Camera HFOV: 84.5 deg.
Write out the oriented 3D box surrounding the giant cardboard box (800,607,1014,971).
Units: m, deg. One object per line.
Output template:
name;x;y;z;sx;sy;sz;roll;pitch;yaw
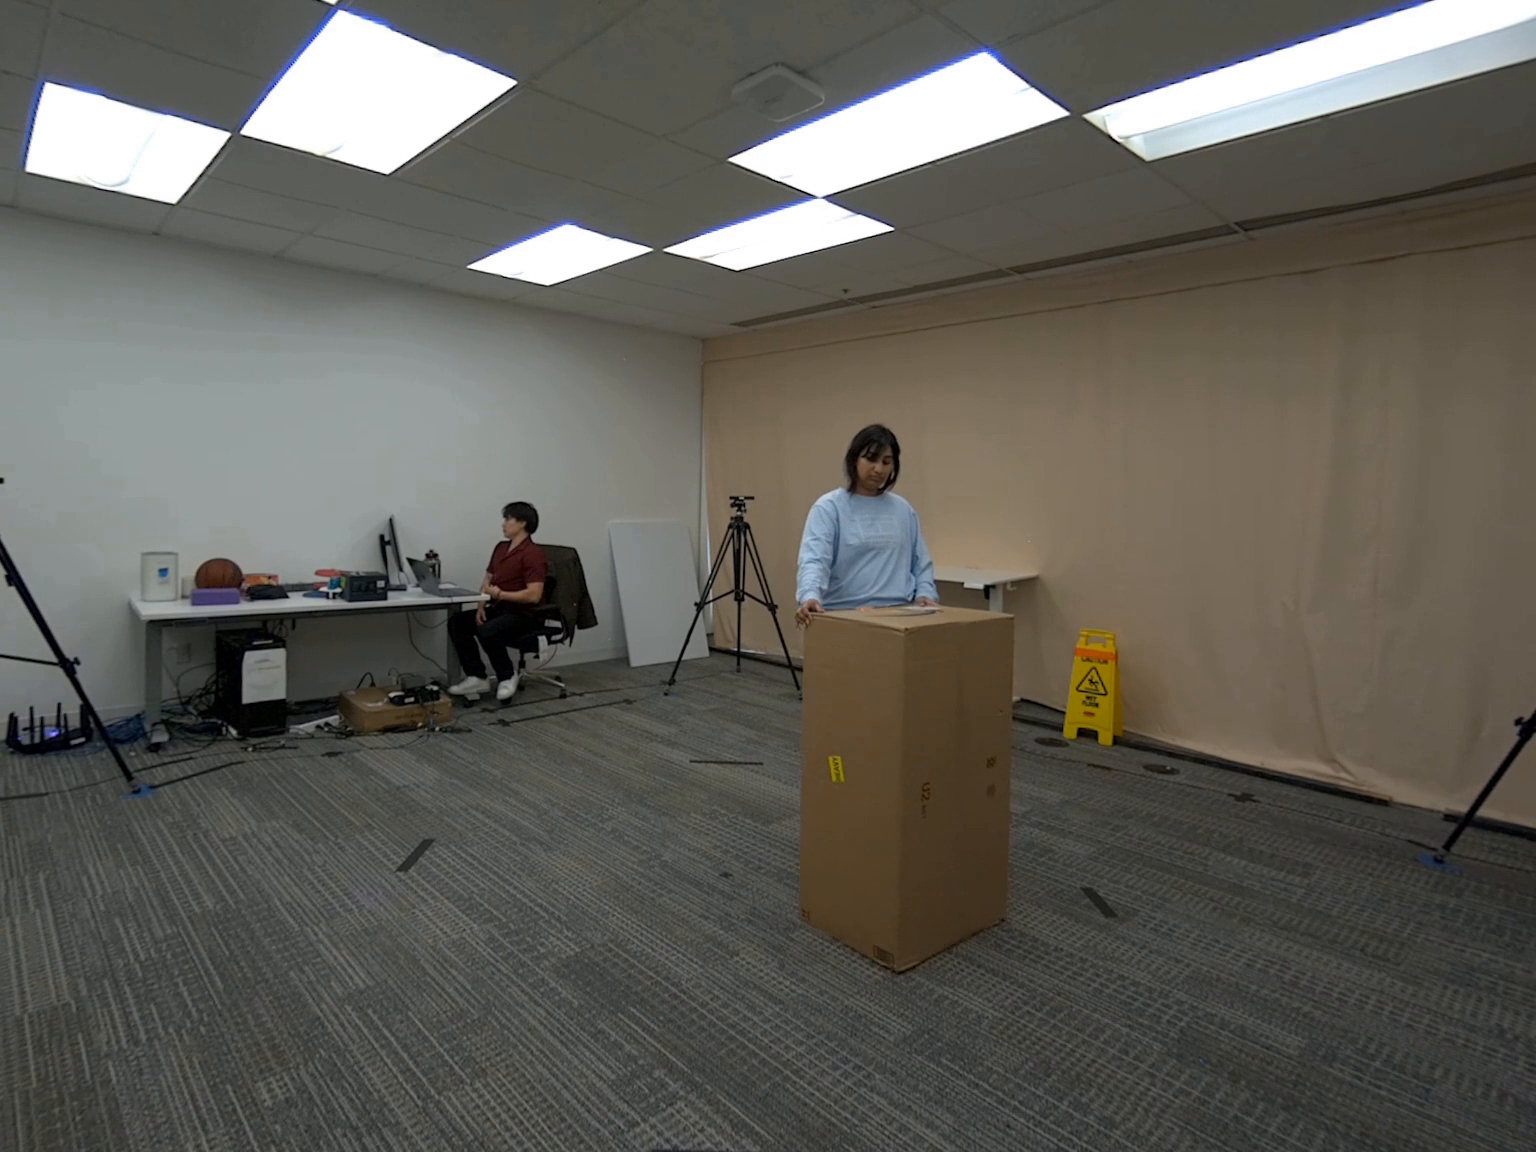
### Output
giant cardboard box;0.455;0.635;2.790;0.571;1.025;0.458;-1;3;-39
